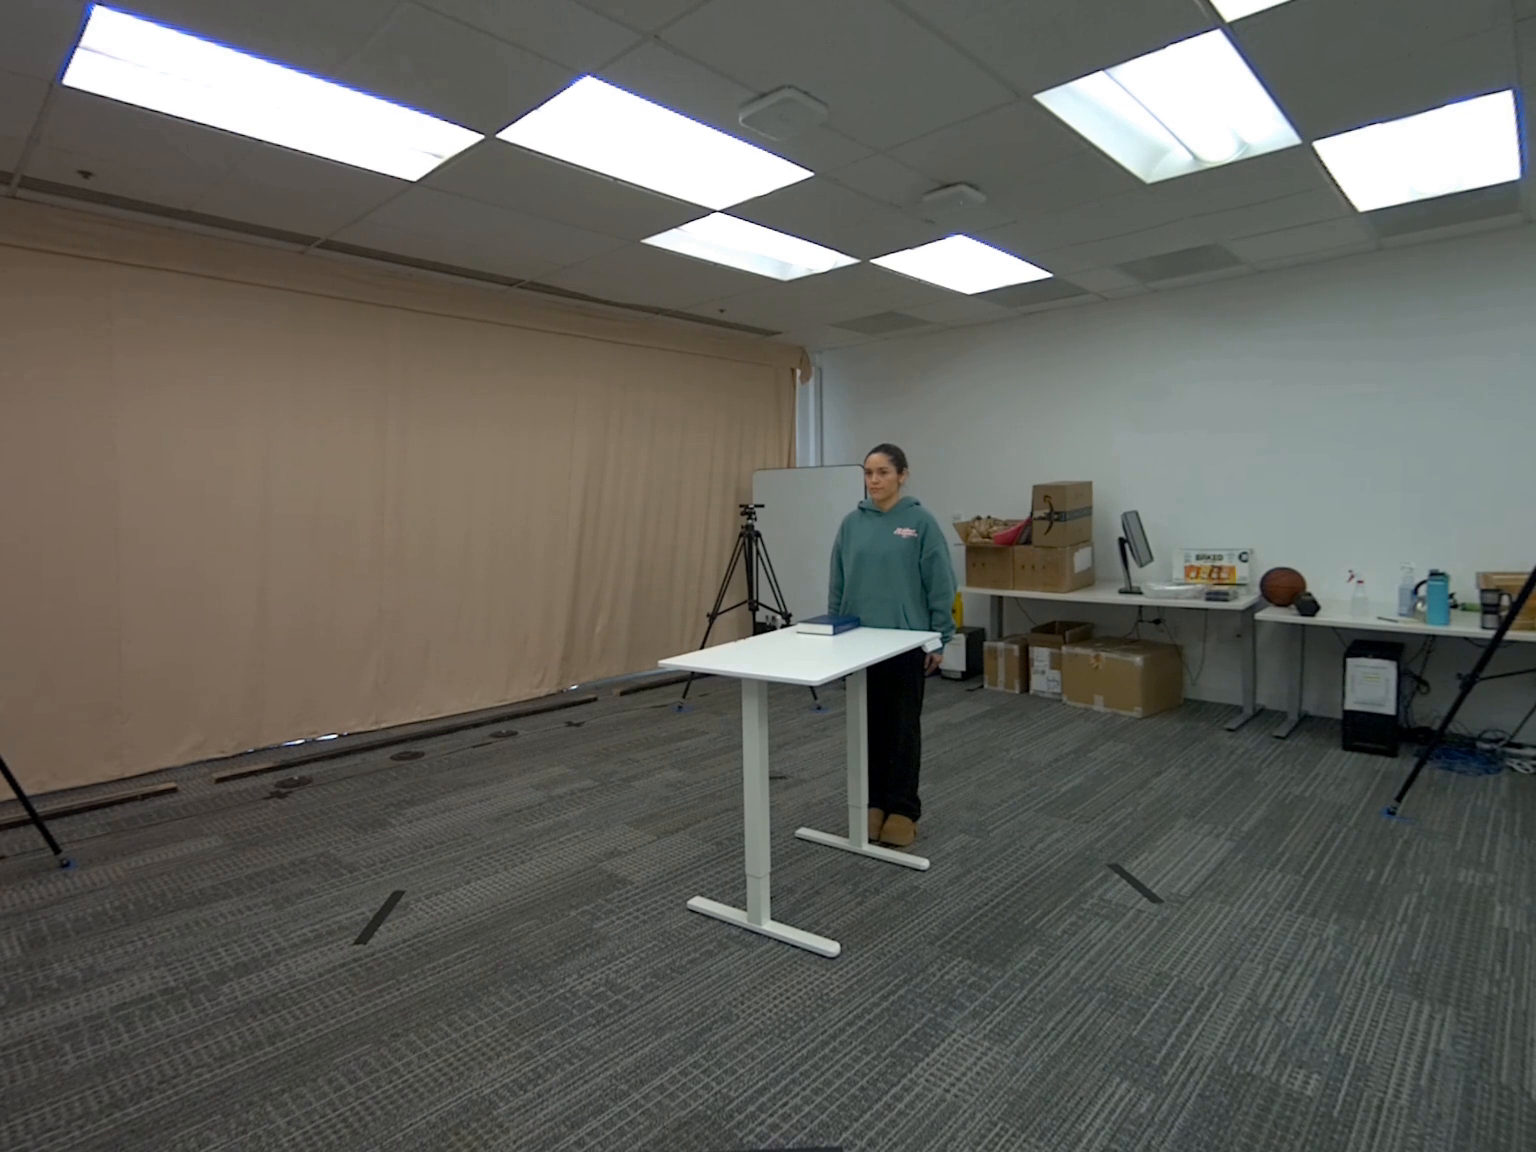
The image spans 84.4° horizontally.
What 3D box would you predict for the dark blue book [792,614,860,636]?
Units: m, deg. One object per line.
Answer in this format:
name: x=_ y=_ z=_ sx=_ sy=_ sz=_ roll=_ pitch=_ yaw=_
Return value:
dark blue book: x=0.245 y=0.198 z=3.379 sx=0.168 sy=0.045 sz=0.239 roll=2 pitch=6 yaw=30
